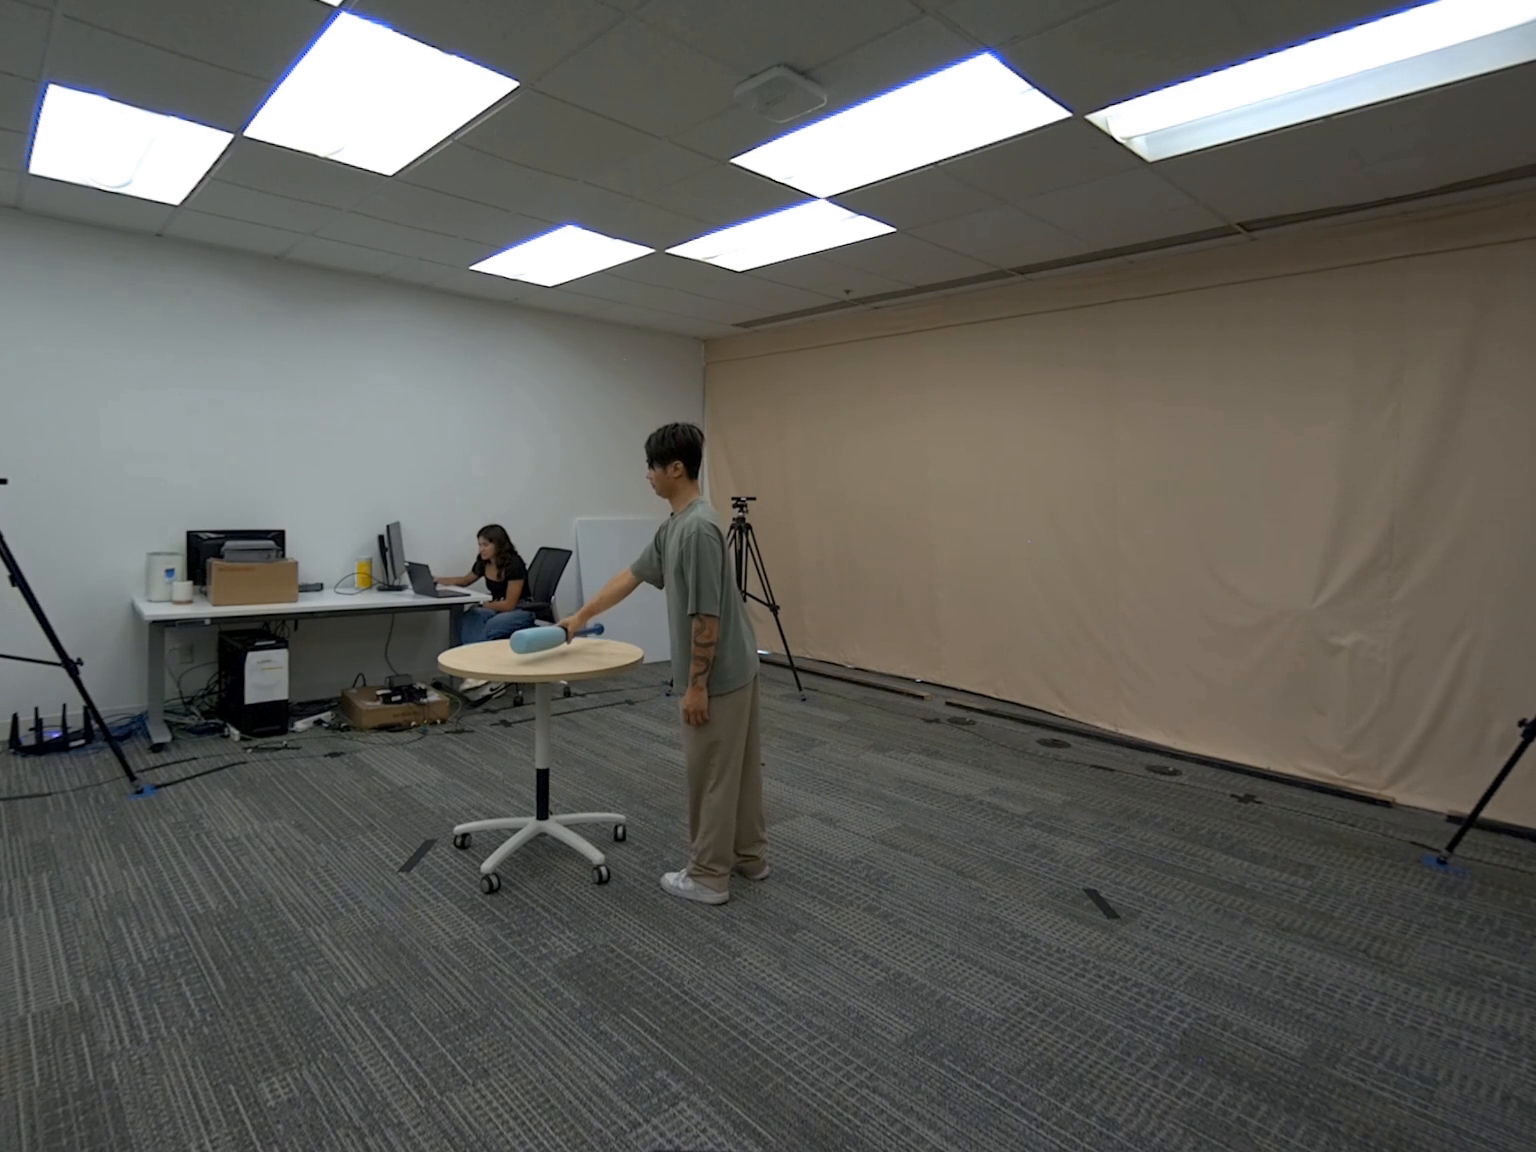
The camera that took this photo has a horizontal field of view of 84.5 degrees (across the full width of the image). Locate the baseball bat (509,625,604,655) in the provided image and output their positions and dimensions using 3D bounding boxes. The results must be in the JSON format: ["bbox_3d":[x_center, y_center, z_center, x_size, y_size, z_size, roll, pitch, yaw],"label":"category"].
[{"bbox_3d":[-0.788,0.223,3.224,0.090,0.089,0.534,3,3,20],"label":"baseball bat"}]
